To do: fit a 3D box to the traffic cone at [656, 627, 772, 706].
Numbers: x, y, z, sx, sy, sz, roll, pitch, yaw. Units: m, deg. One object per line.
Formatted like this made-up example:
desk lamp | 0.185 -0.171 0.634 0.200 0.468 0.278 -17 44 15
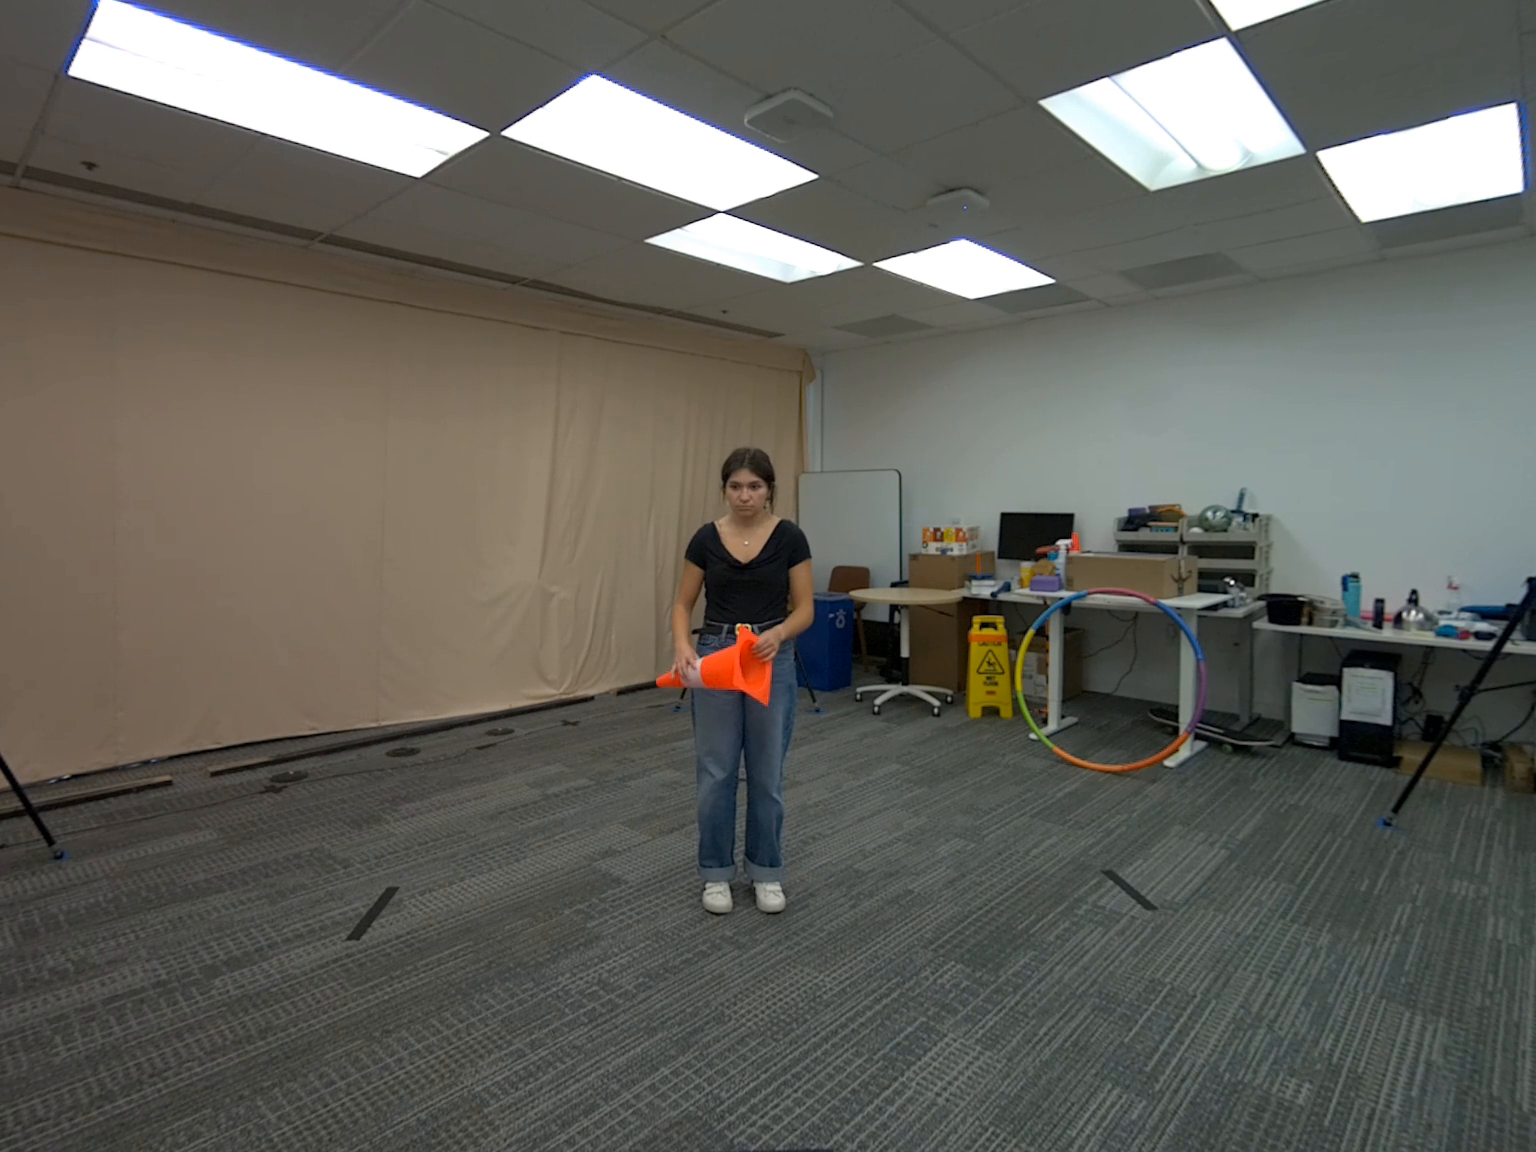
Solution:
traffic cone | -0.202 0.312 2.700 0.393 0.206 0.197 -15 -35 34
